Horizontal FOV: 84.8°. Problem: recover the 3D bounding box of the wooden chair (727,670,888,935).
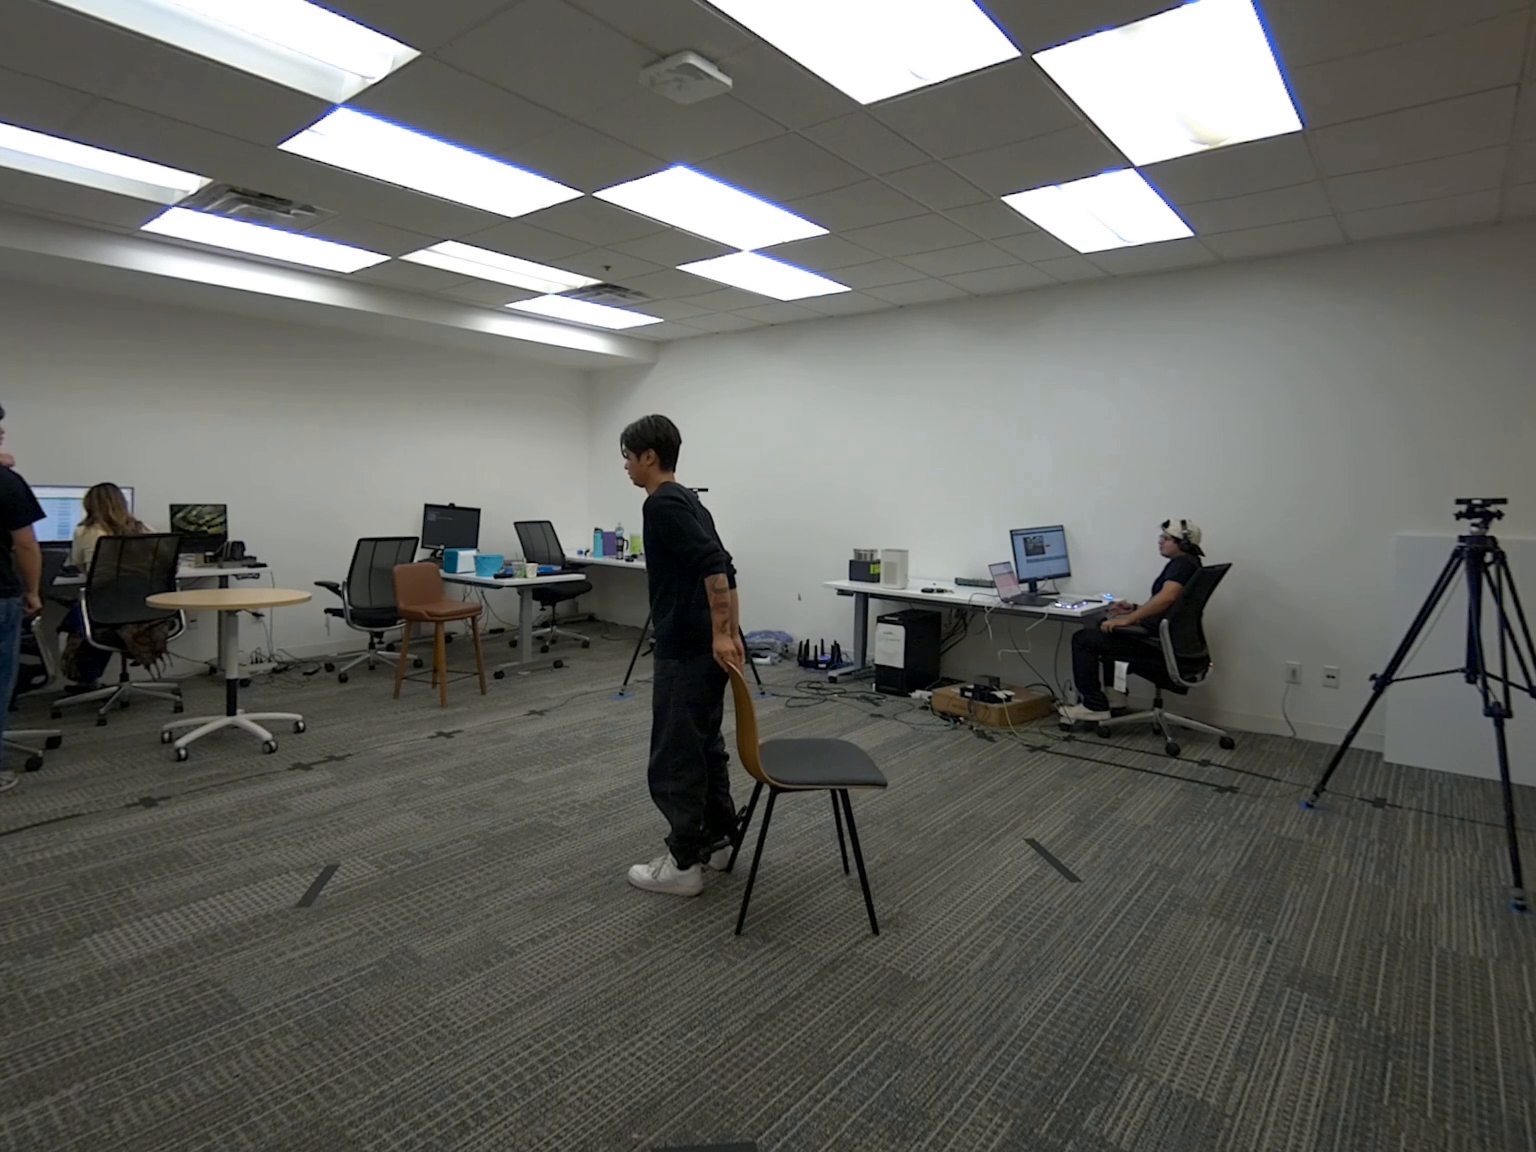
[{"bbox_3d":[0.105,0.670,2.860,0.520,0.876,0.482,-3,2,-6],"label":"wooden chair"}]
